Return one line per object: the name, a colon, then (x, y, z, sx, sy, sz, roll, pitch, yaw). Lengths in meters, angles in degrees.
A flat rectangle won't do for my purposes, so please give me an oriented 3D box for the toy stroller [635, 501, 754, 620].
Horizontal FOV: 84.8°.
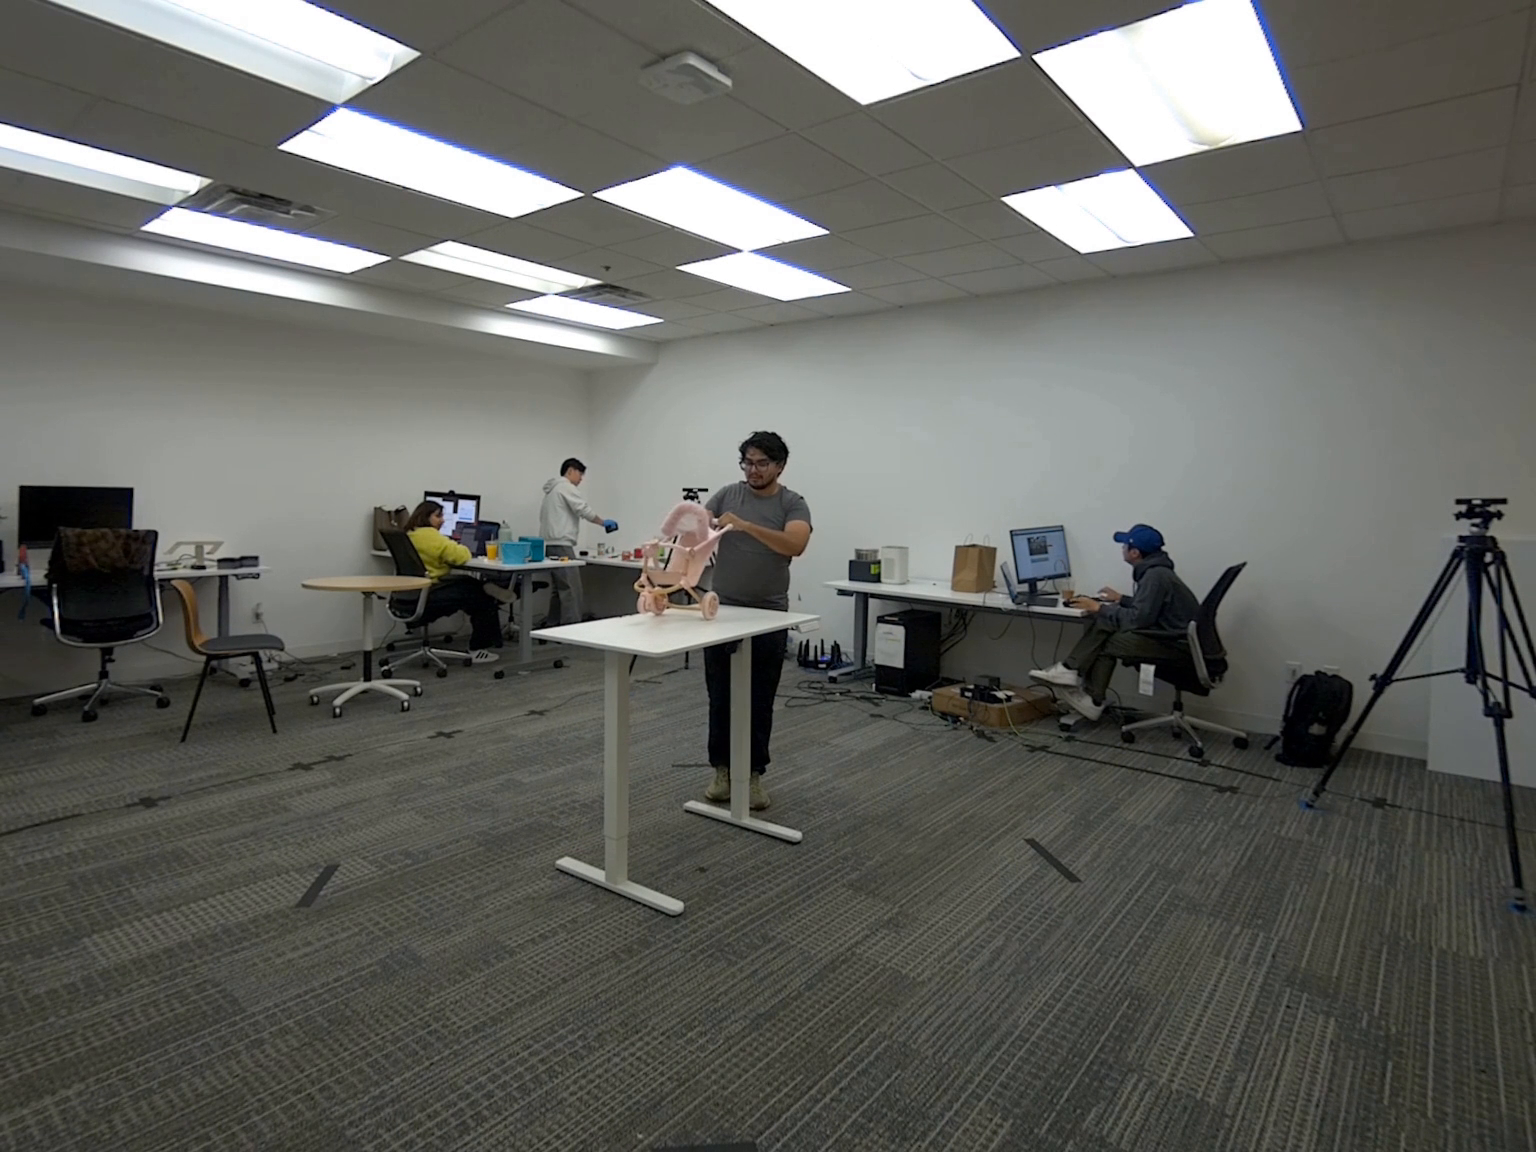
toy stroller: (-0.357, -0.066, 3.317, 0.290, 0.541, 0.327, 2, -21, 34)
